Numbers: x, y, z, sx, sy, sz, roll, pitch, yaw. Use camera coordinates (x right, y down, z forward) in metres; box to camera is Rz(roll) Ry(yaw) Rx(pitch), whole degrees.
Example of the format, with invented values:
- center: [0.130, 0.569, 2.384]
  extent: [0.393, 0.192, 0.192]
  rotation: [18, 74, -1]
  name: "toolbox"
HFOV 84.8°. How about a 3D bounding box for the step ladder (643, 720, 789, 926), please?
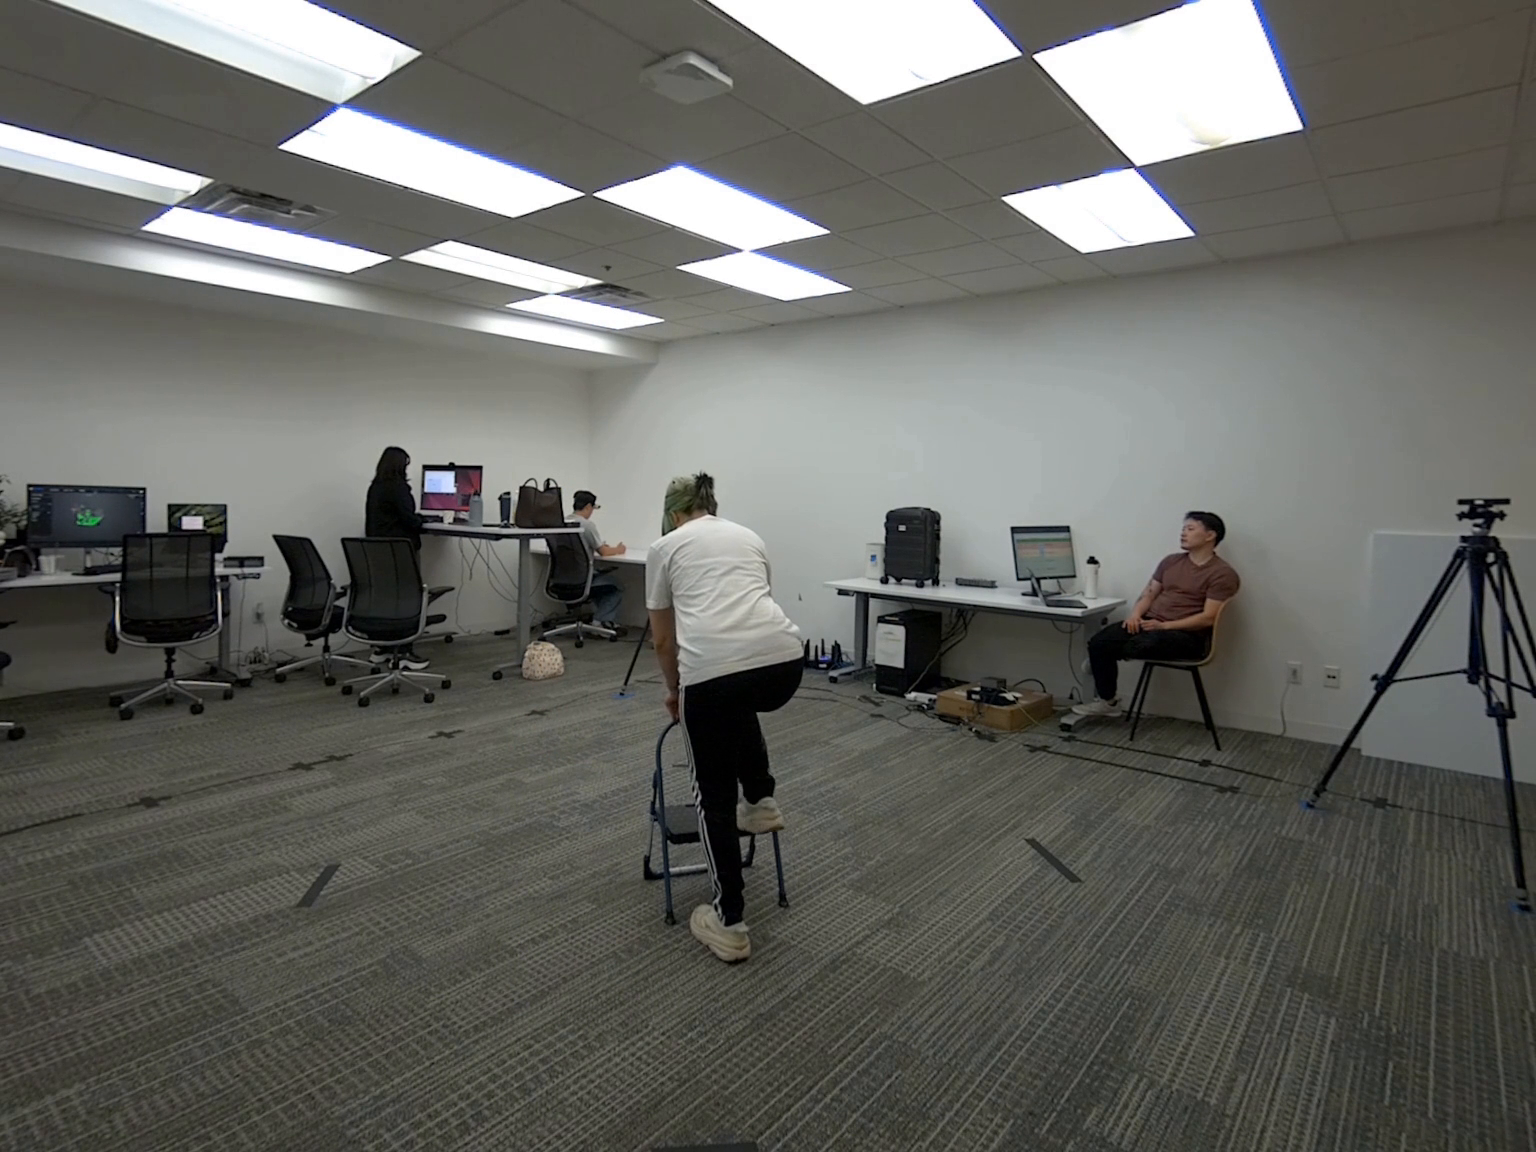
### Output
- center: [-0.194, 0.787, 2.922]
  extent: [0.422, 0.604, 0.358]
  rotation: [0, 3, -21]
  name: "step ladder"
